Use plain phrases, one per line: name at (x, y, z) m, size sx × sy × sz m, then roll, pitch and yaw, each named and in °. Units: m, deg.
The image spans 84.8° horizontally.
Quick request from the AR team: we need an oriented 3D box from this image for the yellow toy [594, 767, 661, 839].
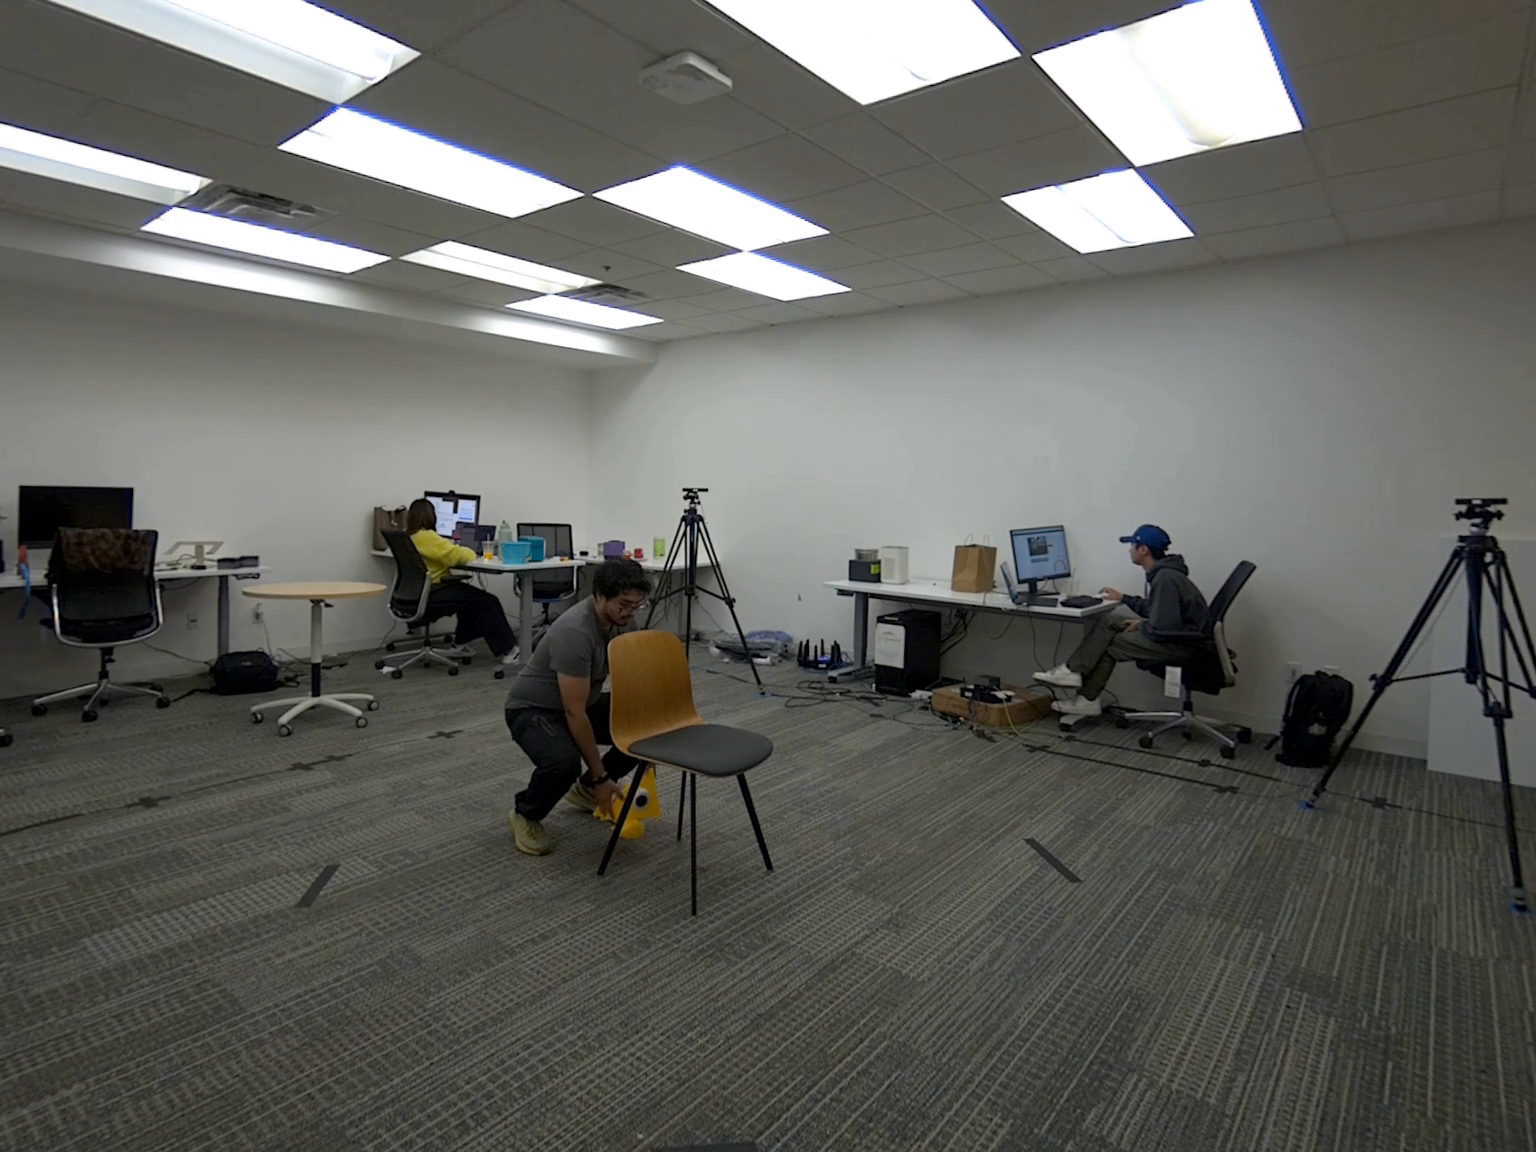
yellow toy at (-0.542, 0.847, 3.260) m, size 0.213 × 0.230 × 0.186 m, roll 25°, pitch 7°, yaw 37°
